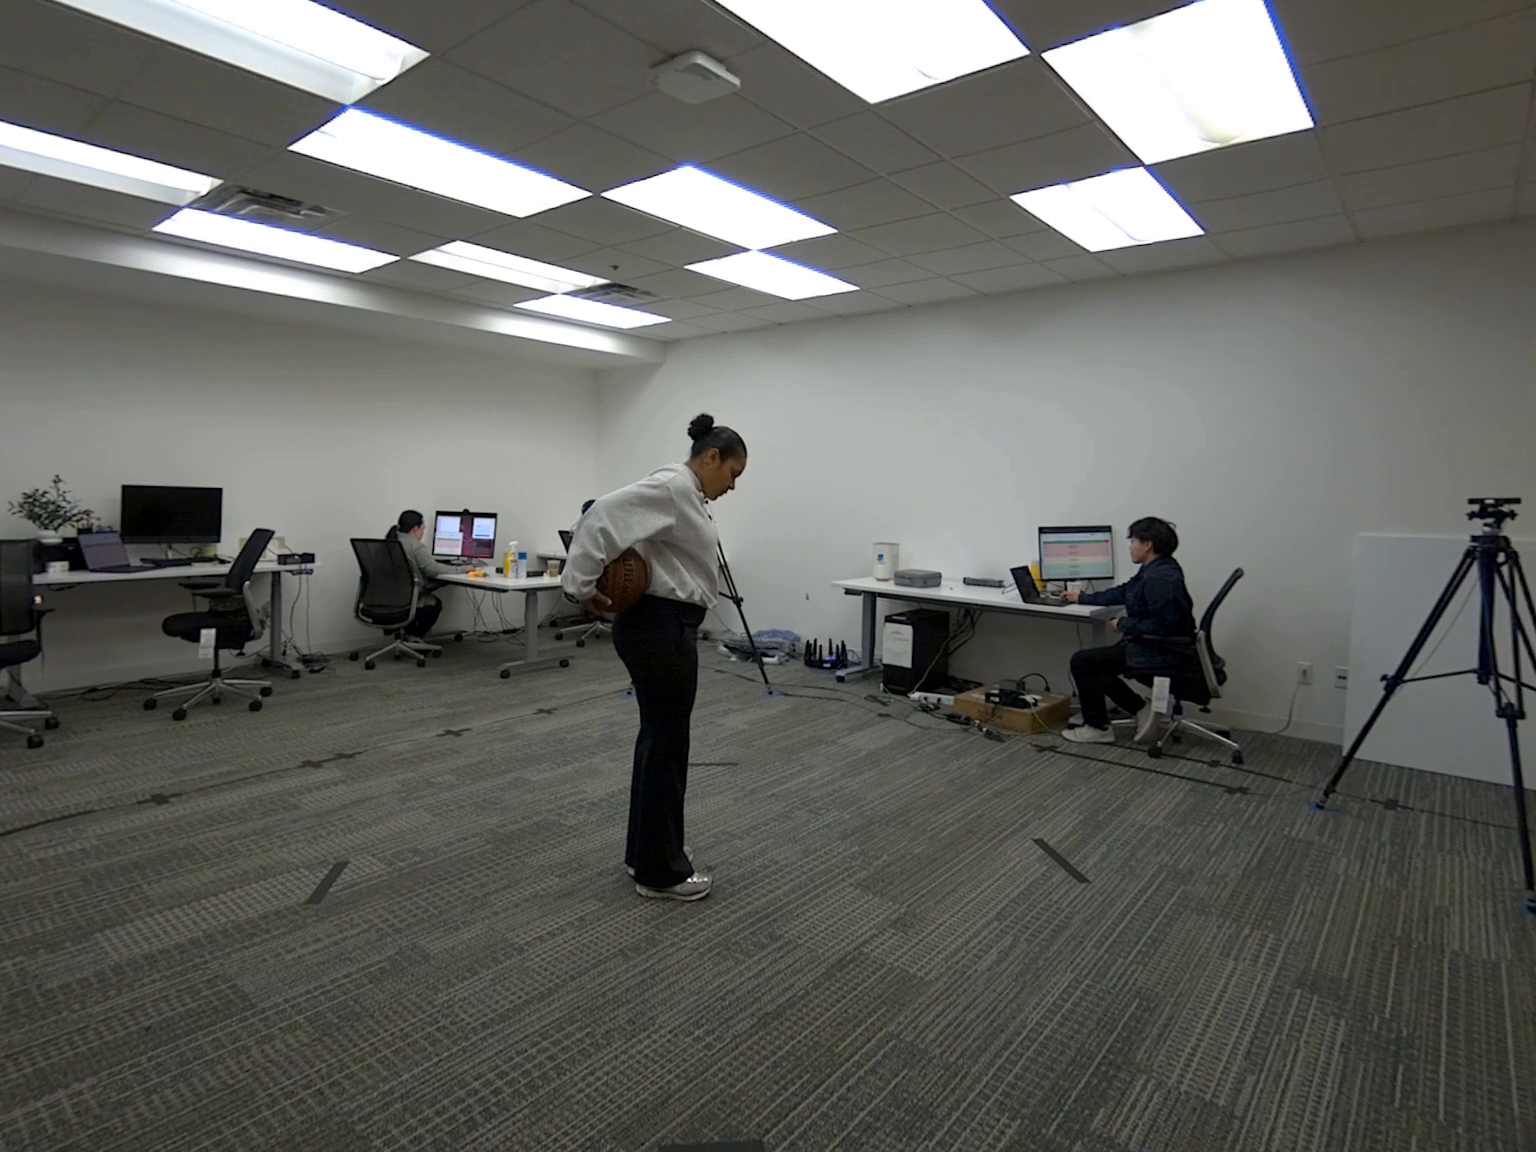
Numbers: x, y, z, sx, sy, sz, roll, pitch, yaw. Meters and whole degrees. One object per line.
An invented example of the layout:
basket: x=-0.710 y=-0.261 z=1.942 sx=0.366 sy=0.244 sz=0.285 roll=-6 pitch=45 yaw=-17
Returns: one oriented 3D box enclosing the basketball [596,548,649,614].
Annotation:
basketball: x=-0.522 y=-0.006 z=2.778 sx=0.235 sy=0.235 sz=0.237 roll=1 pitch=4 yaw=-2
